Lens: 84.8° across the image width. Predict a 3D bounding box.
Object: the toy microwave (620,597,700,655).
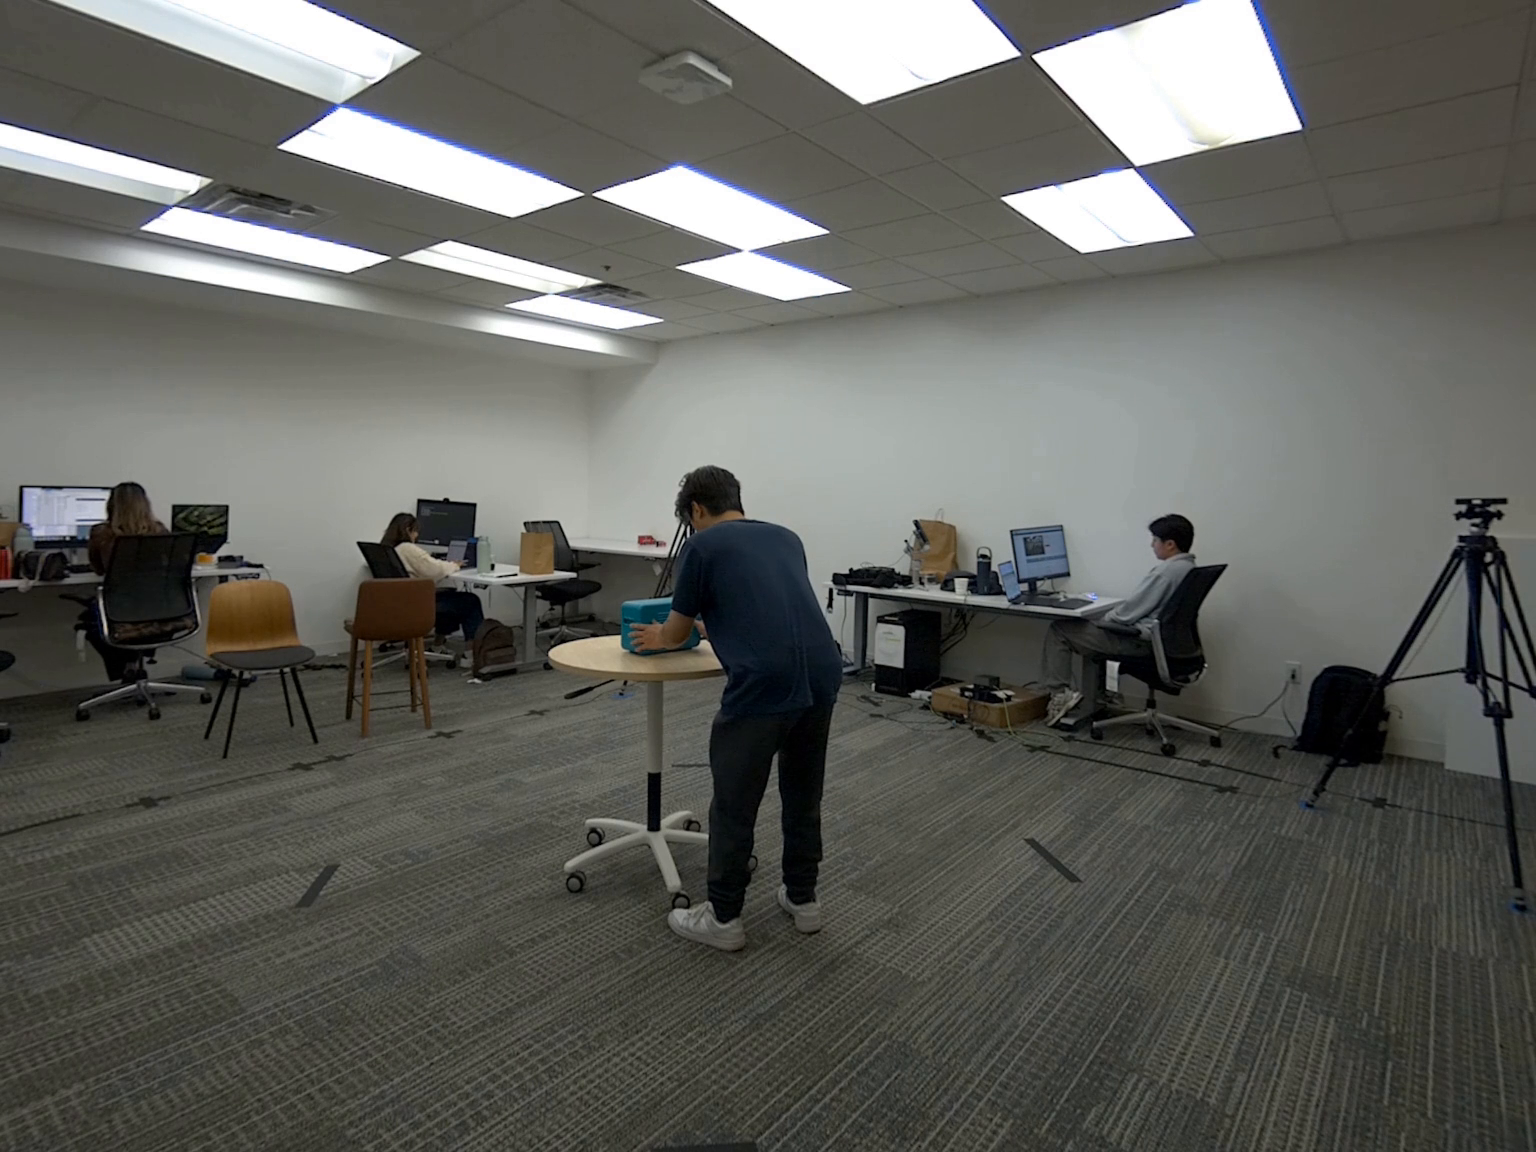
[{"bbox_3d":[-0.405,0.176,3.107,0.277,0.183,0.157,-3,5,-42],"label":"toy microwave"}]
